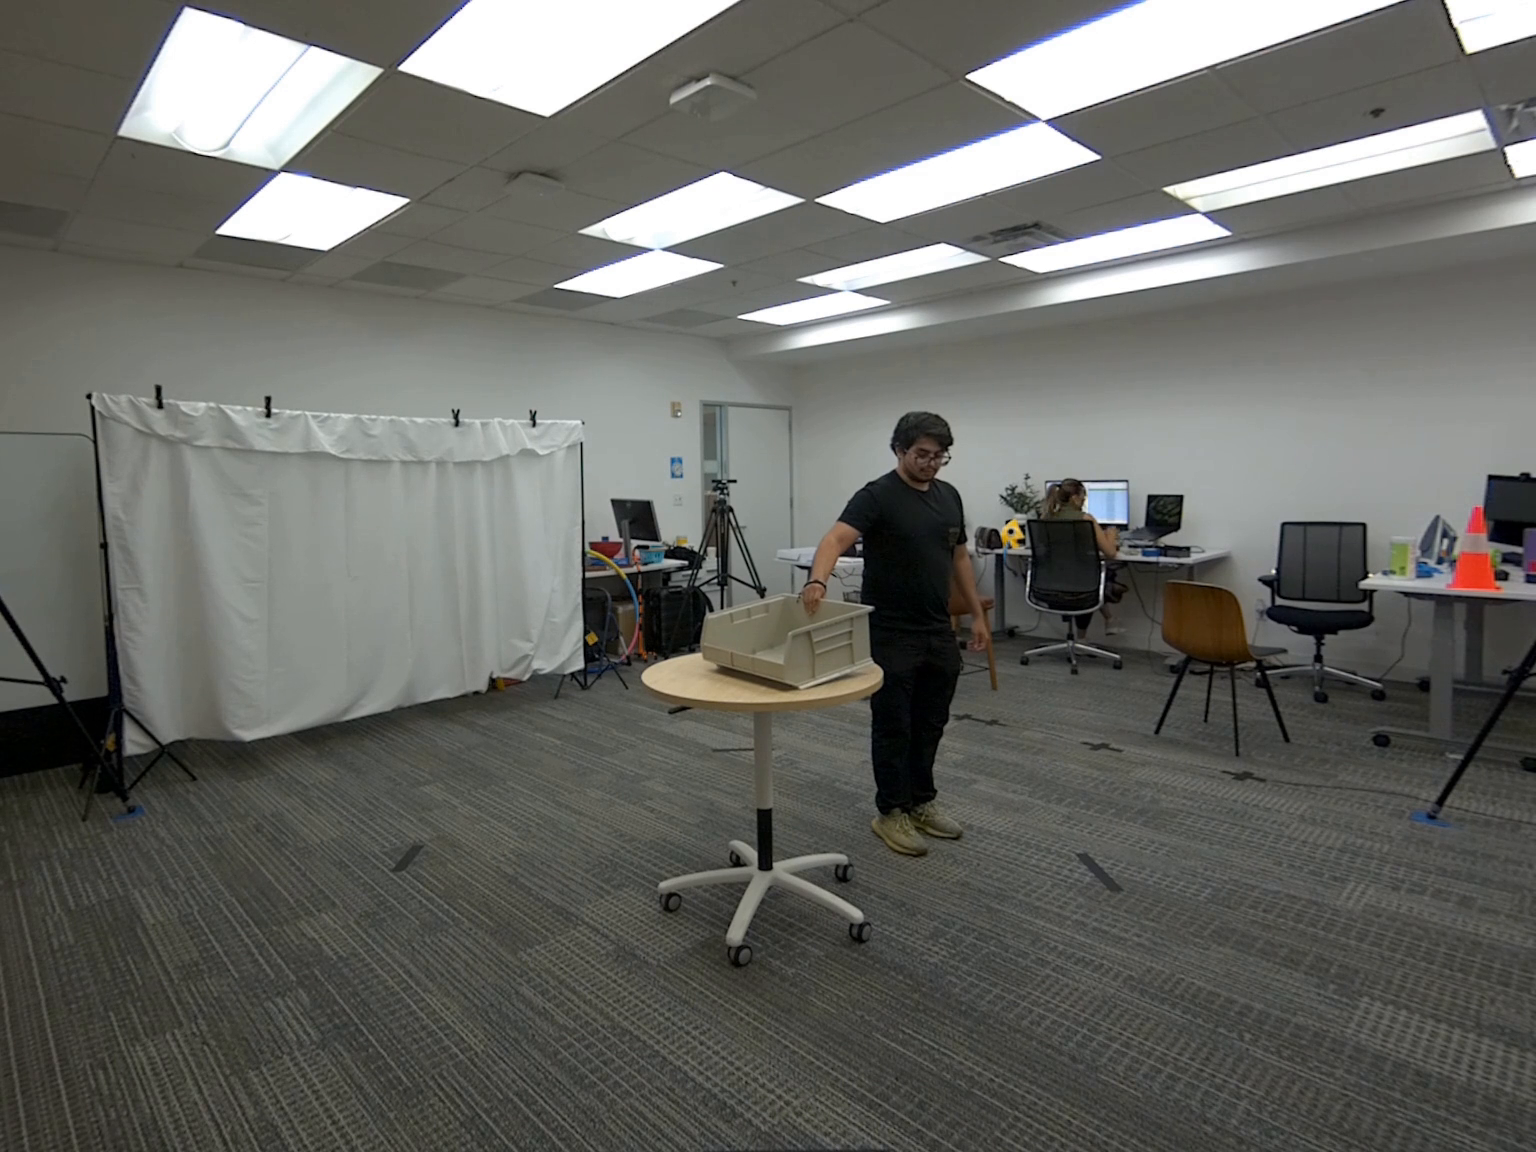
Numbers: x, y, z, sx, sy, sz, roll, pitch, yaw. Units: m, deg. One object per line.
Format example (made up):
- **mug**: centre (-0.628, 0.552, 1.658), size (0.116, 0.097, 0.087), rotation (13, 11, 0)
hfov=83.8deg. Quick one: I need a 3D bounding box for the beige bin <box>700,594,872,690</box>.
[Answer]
- **beige bin**: centre (0.054, 0.201, 2.695), size (0.369, 0.188, 0.435), rotation (-11, 10, -37)
